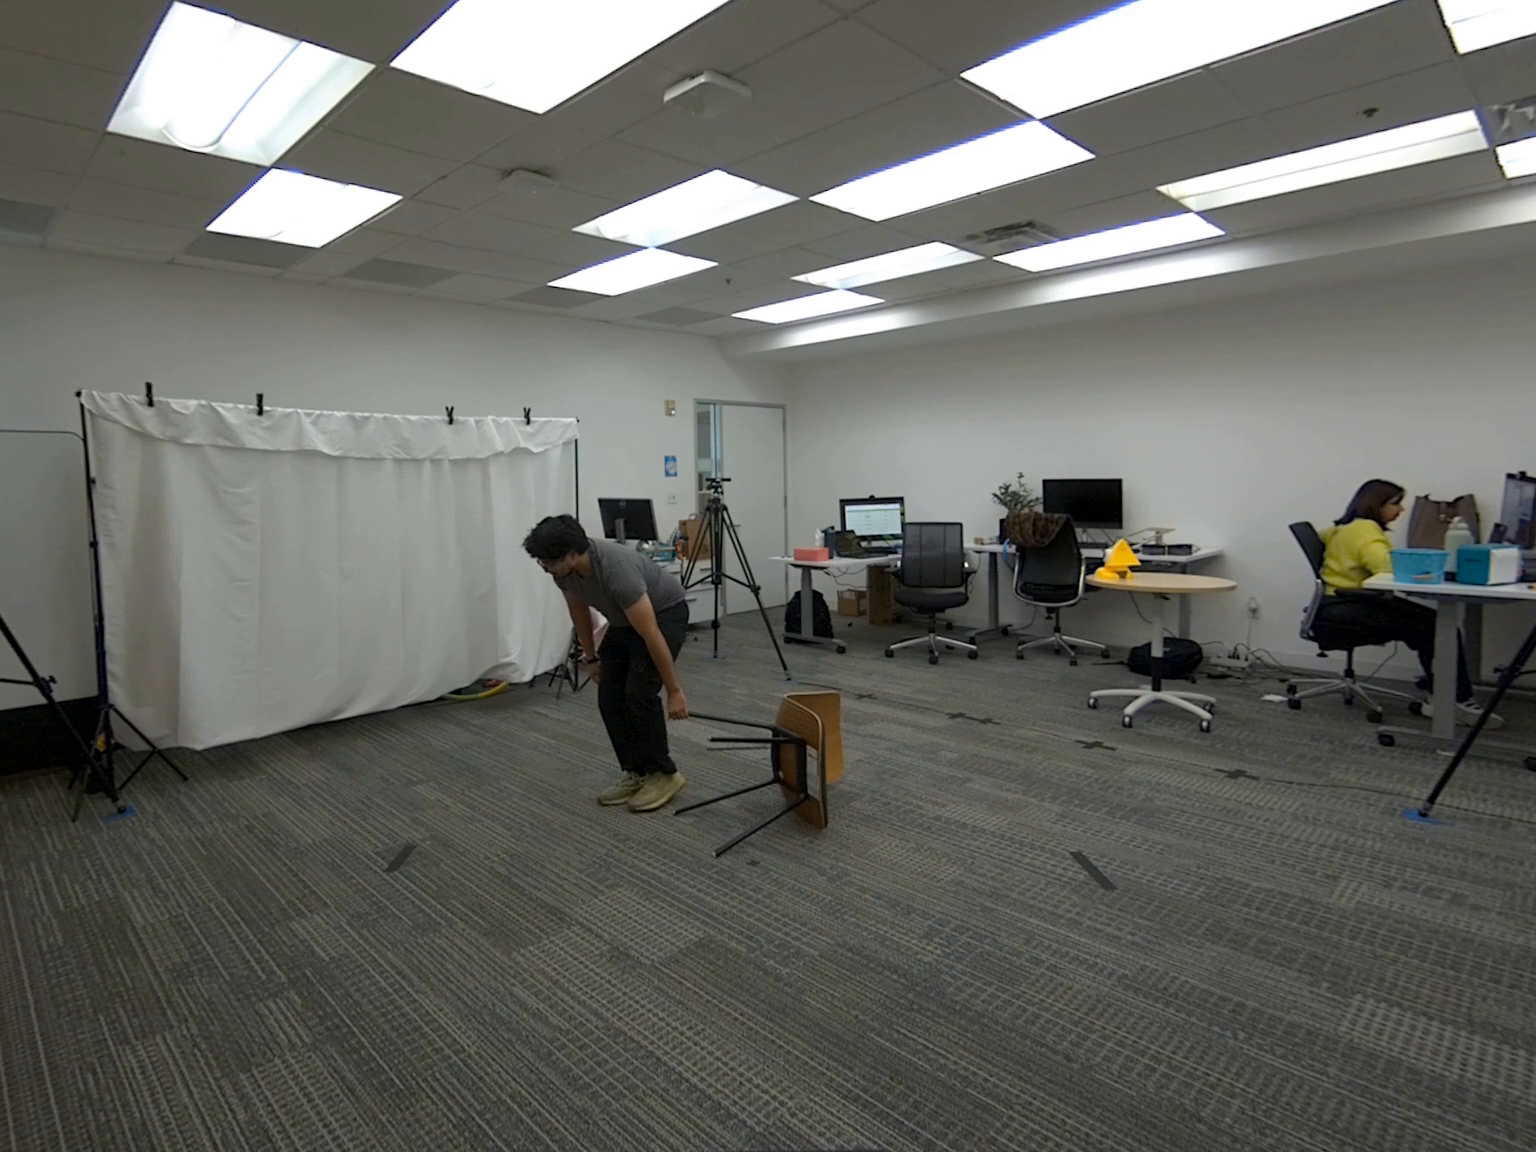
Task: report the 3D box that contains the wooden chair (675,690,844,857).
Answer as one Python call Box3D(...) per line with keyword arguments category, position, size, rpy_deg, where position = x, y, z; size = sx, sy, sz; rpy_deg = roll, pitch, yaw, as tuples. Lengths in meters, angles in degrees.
Box3D(category="wooden chair", position=(0.085, 0.764, 3.497), size=(0.858, 0.476, 0.537), rpy_deg=(-5, 6, -28))
